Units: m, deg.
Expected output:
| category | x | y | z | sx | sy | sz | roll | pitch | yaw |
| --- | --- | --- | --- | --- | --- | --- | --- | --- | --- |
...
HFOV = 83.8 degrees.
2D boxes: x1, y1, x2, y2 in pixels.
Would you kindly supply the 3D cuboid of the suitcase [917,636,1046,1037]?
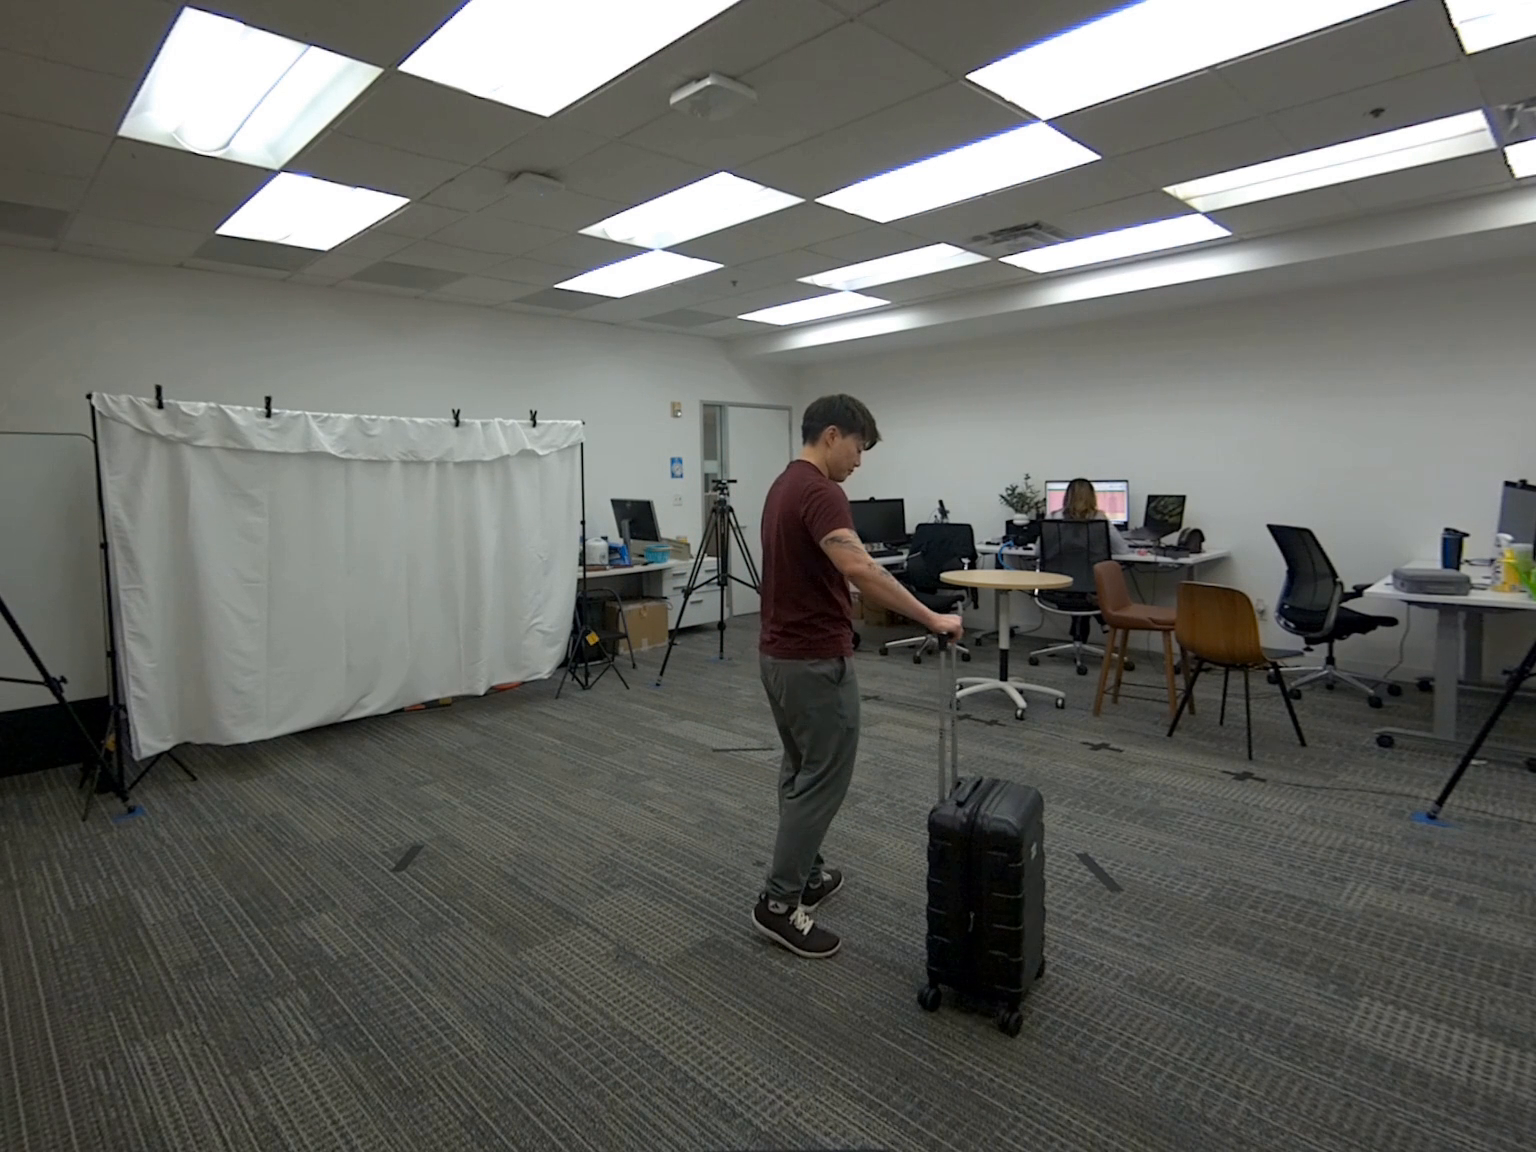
| category | x | y | z | sx | sy | sz | roll | pitch | yaw |
| --- | --- | --- | --- | --- | --- | --- | --- | --- | --- |
| suitcase | 0.605 | 0.646 | 2.310 | 0.263 | 0.976 | 0.375 | 1 | 3 | 28 |
